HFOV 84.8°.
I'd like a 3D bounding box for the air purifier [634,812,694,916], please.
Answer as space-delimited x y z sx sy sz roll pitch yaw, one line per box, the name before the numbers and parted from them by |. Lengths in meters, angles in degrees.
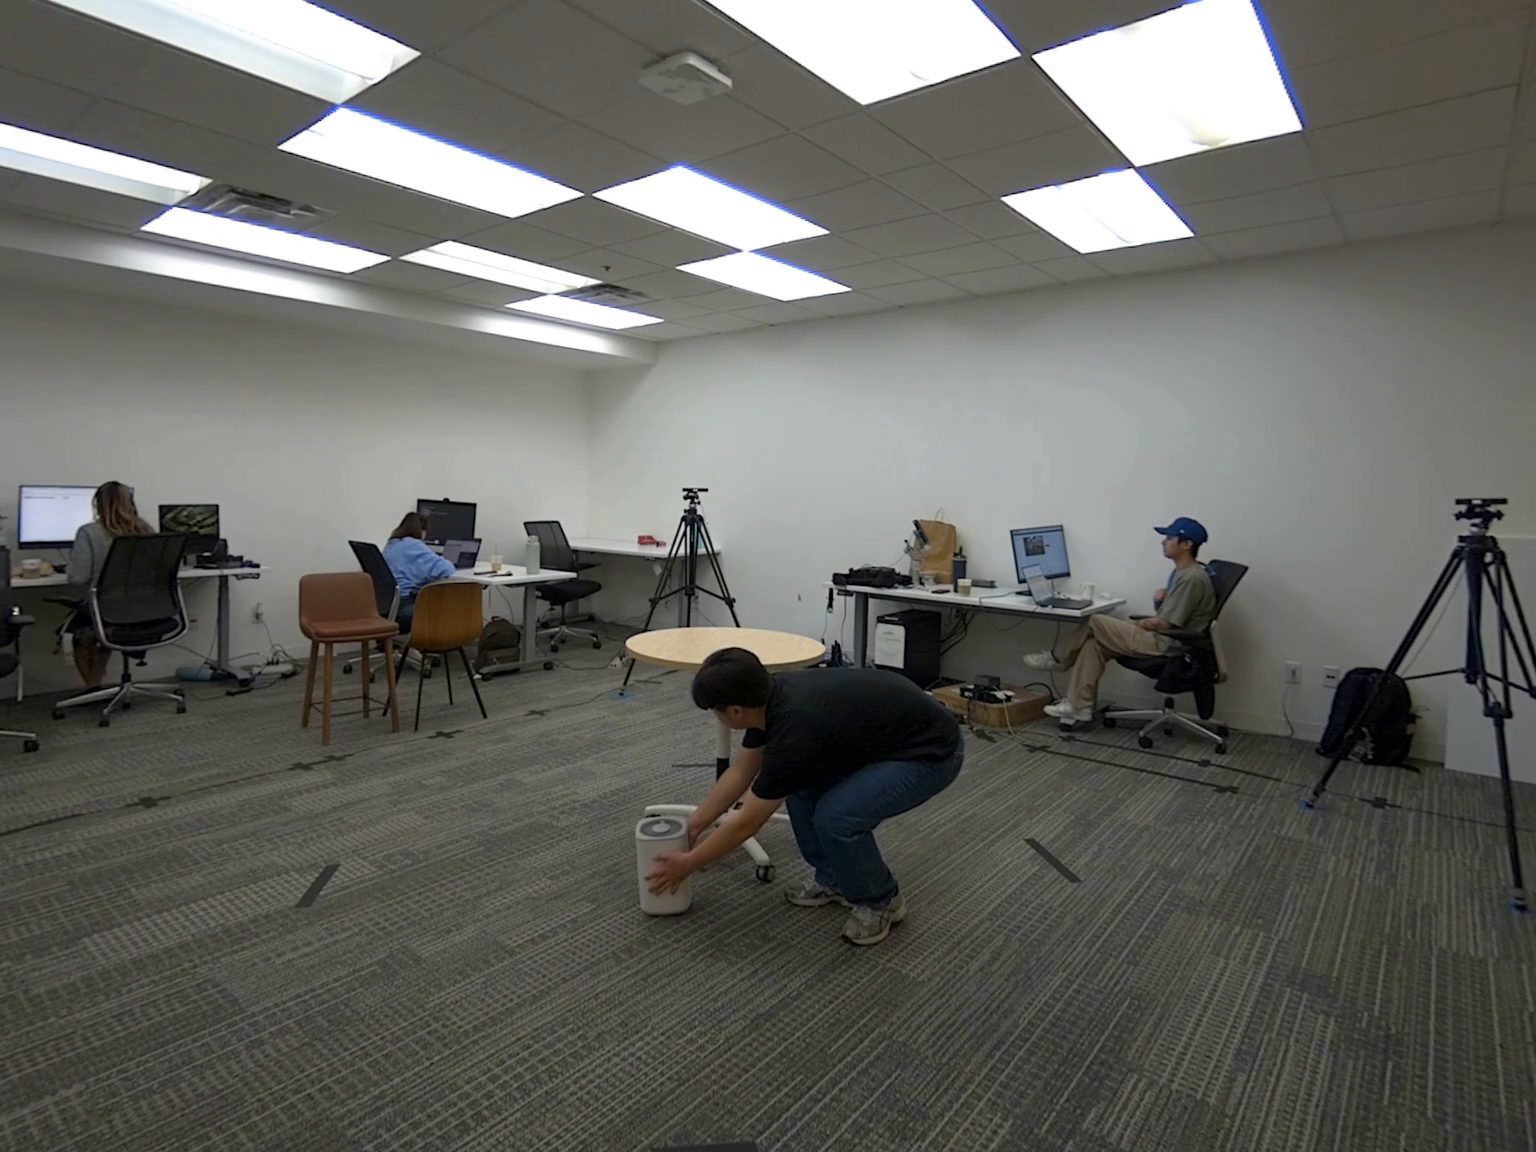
air purifier | -0.349 0.960 2.815 0.171 0.263 0.173 -4 7 -3
